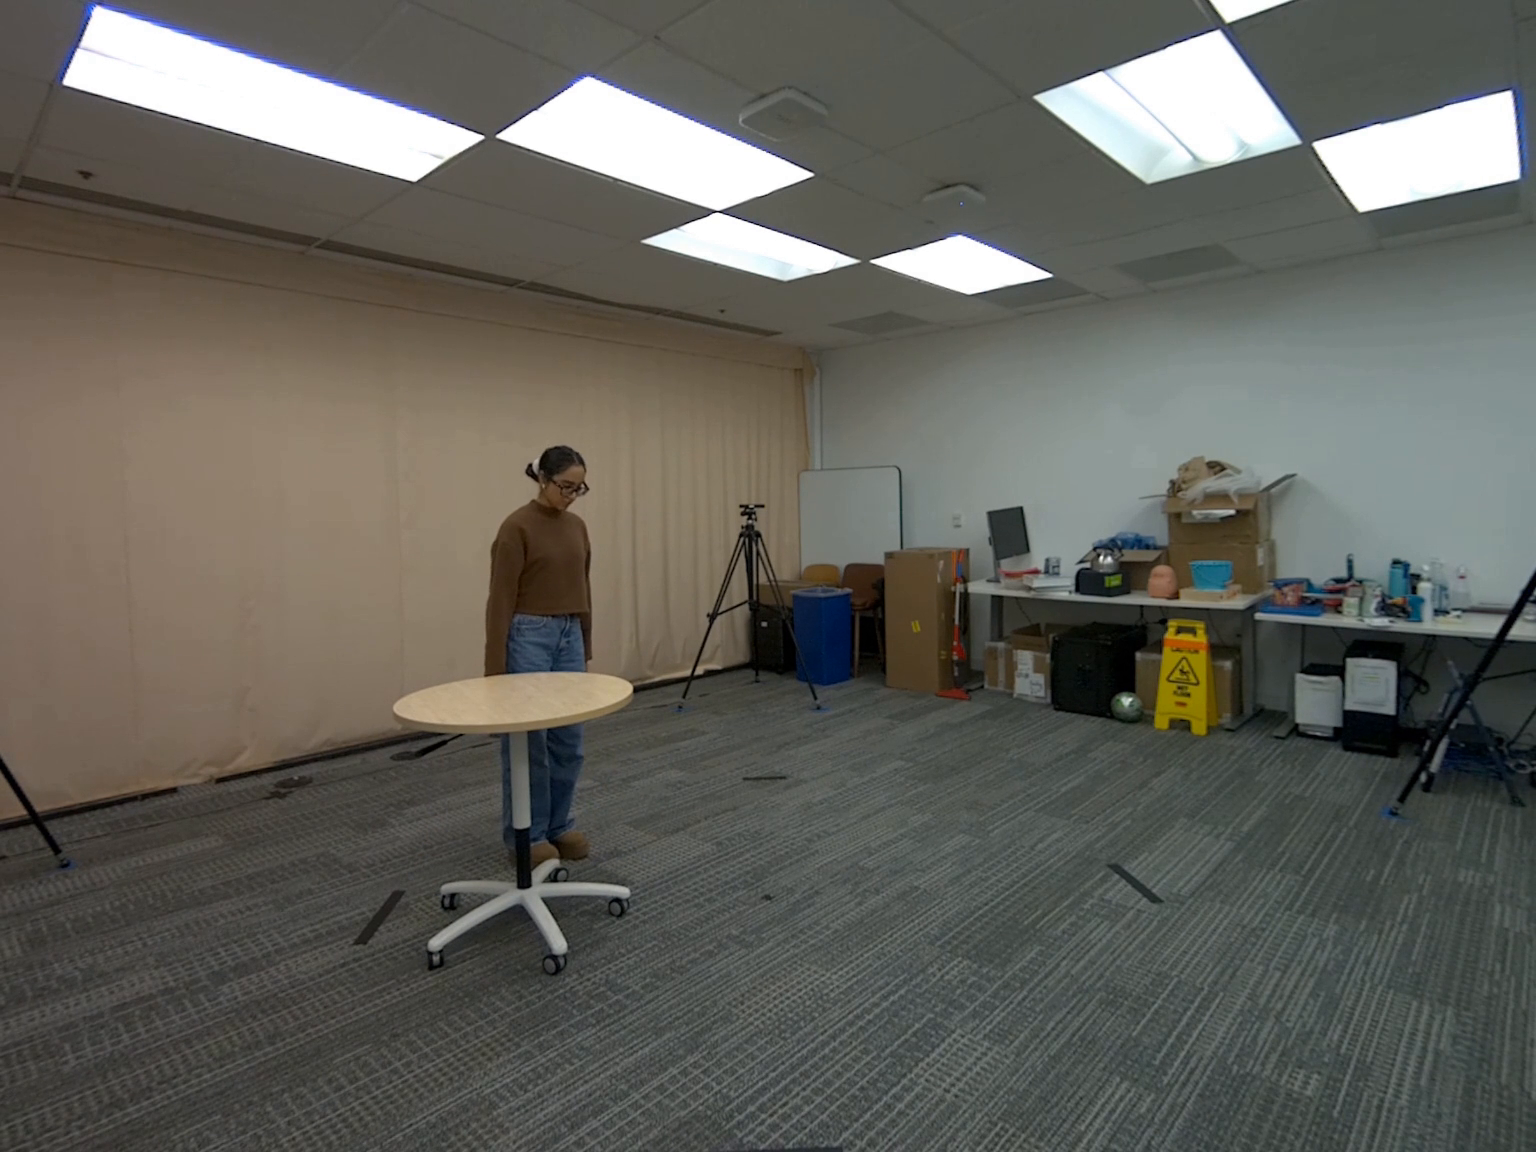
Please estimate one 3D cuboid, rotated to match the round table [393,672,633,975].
[{"bbox_3d":[-0.818,0.788,2.782,0.763,0.792,0.766,-2,4,-2],"label":"round table"}]
